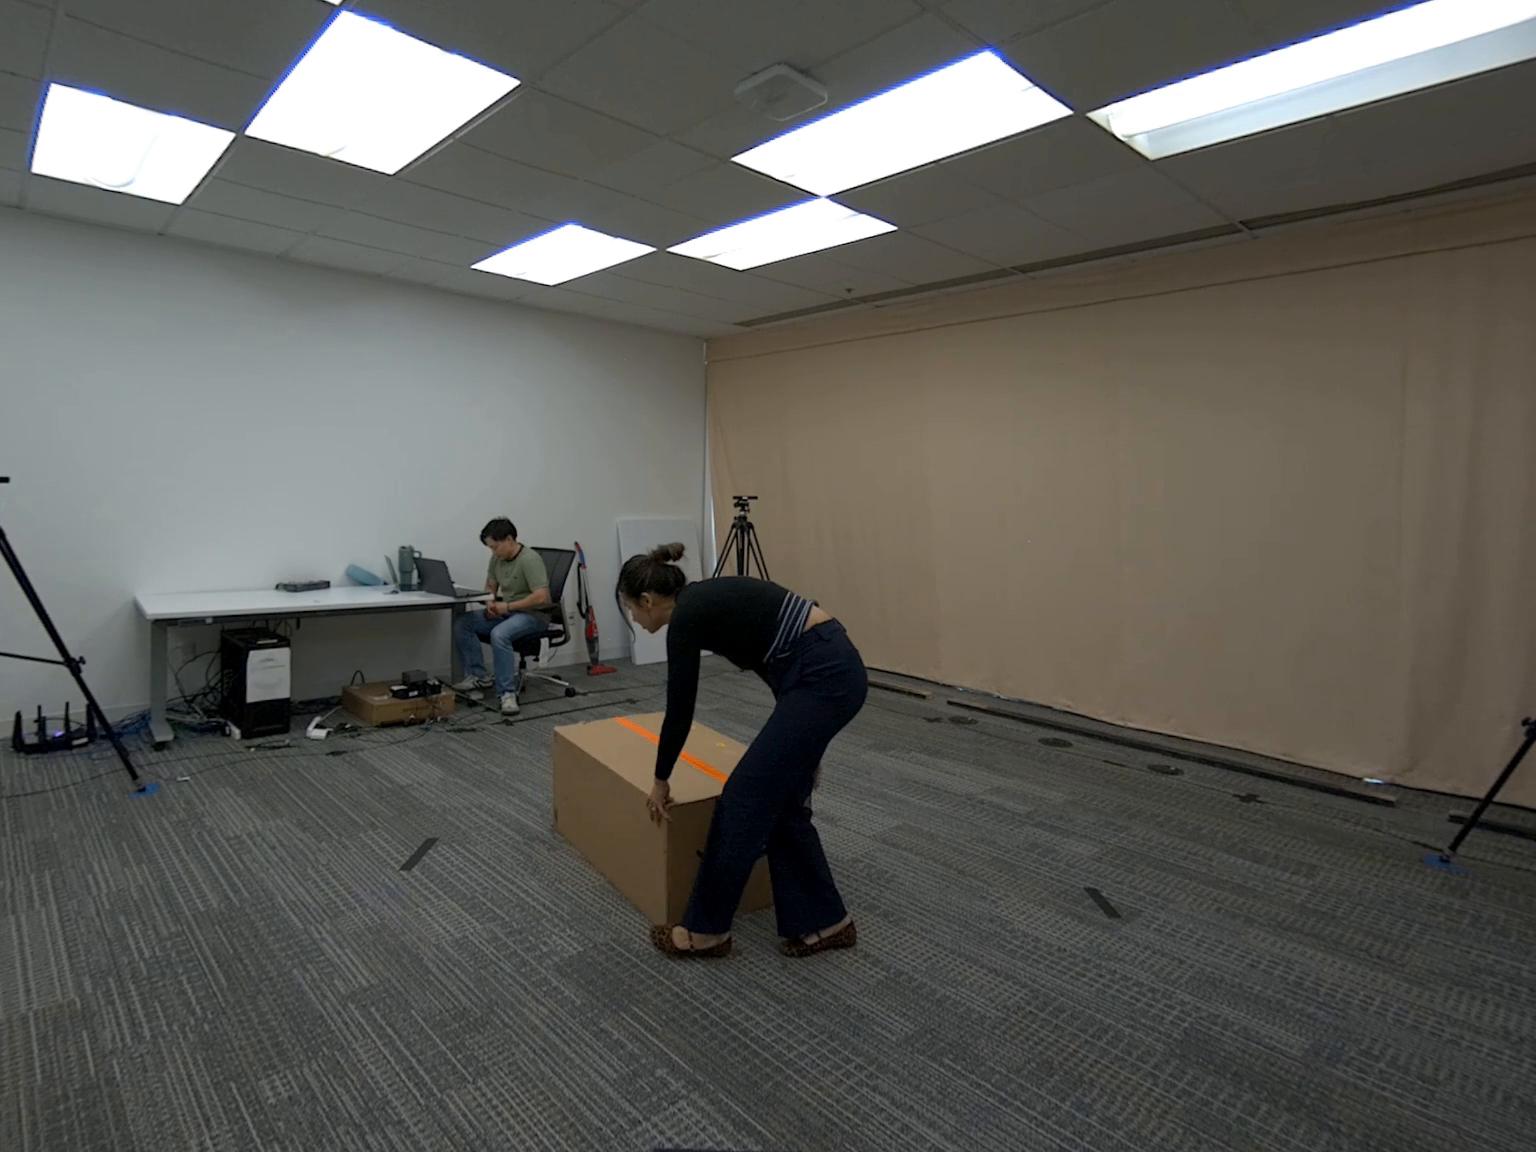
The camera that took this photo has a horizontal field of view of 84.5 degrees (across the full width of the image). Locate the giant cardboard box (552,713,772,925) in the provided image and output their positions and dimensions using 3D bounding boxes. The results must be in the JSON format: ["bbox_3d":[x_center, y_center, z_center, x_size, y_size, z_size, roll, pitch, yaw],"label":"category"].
[{"bbox_3d":[-0.381,0.874,3.227,0.565,0.425,1.051,-1,6,-33],"label":"giant cardboard box"}]
